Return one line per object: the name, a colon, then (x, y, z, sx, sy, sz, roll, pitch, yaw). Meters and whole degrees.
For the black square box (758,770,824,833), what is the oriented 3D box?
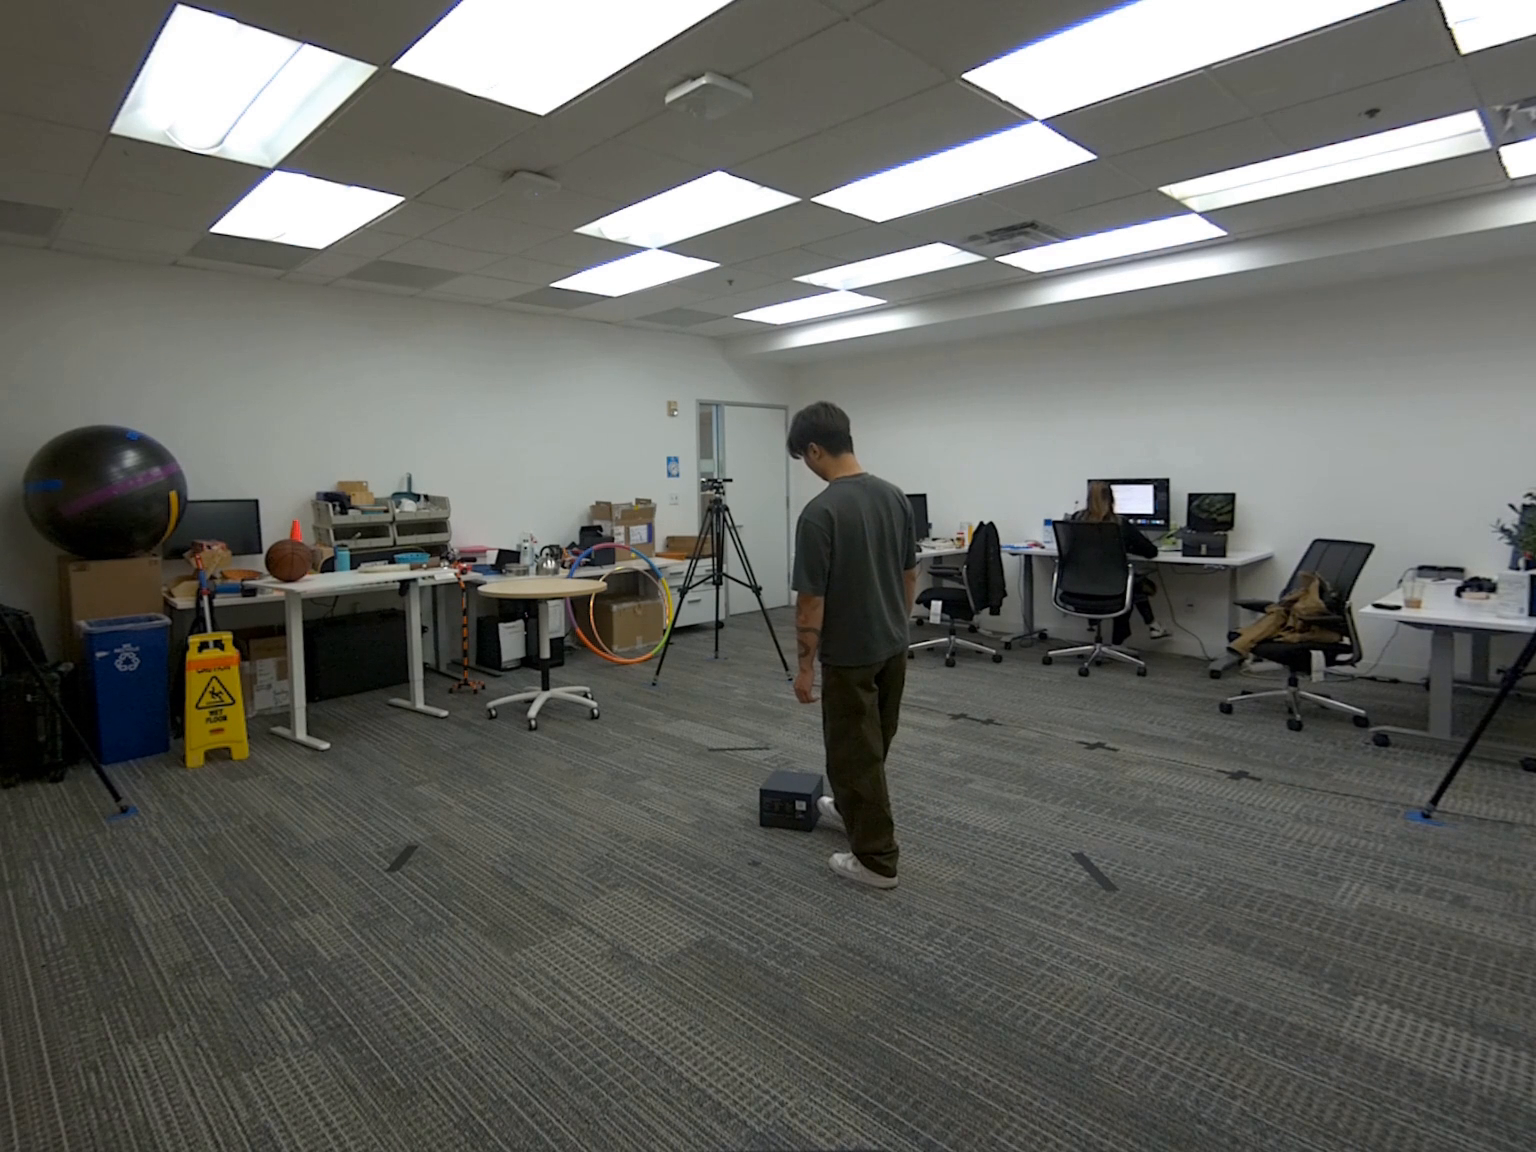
black square box: (0.098, 0.911, 3.504, 0.221, 0.155, 0.225, 1, 6, 17)
